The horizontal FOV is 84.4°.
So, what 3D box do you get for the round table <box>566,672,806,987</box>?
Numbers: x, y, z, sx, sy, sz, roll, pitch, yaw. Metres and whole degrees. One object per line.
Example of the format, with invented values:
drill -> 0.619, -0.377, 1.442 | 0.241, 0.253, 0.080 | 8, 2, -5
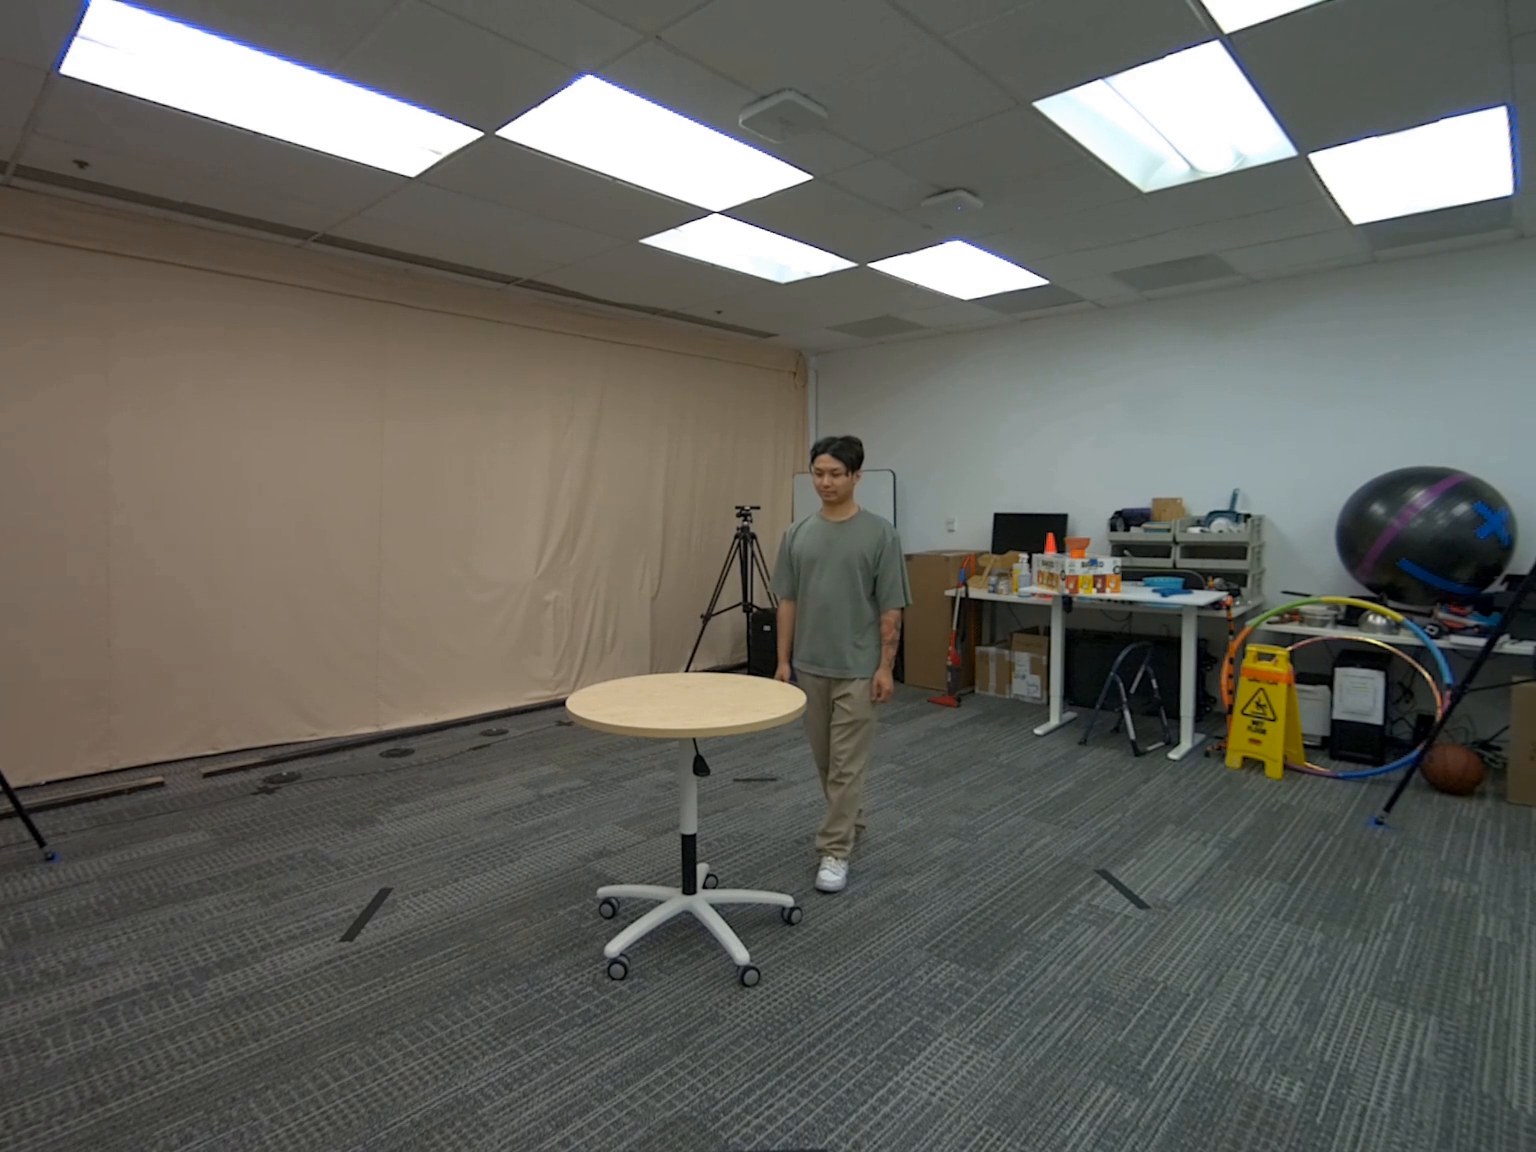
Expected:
round table -> -0.261, 0.774, 2.730 | 0.784, 0.785, 0.788 | -1, 4, -2
